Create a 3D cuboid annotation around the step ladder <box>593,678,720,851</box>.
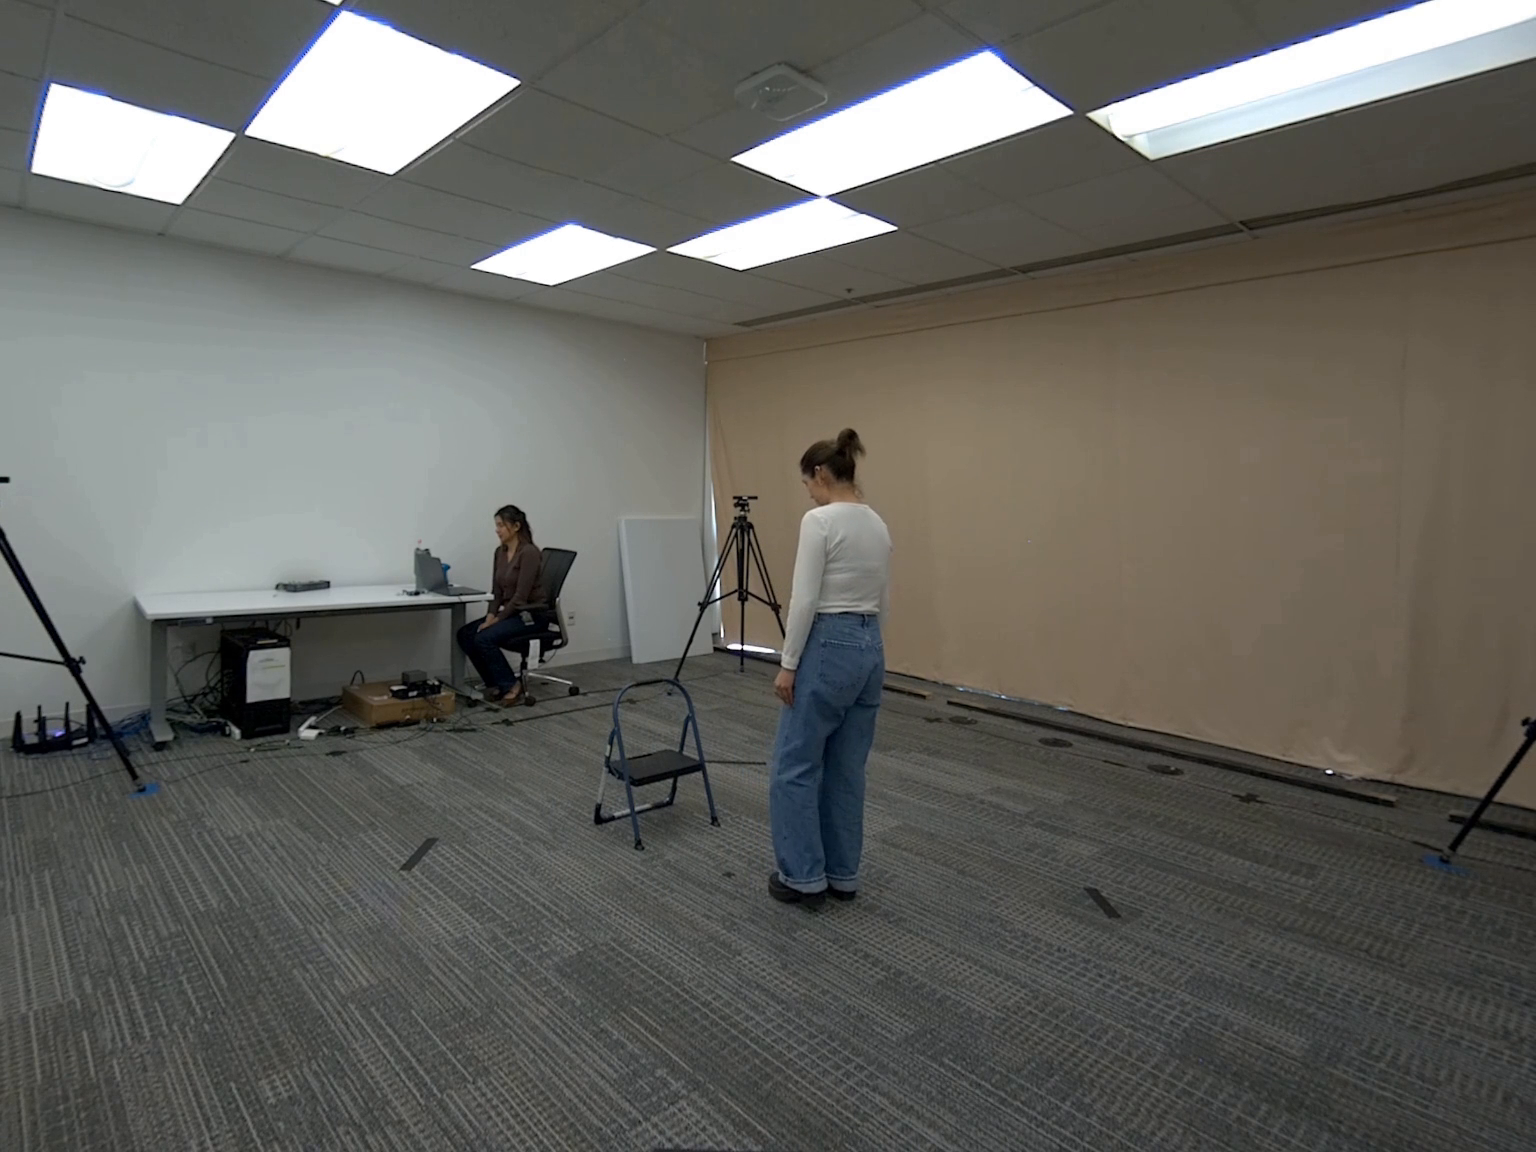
[{"bbox_3d":[-0.471,0.753,3.551,0.421,0.605,0.358,-2,4,-44],"label":"step ladder"}]
